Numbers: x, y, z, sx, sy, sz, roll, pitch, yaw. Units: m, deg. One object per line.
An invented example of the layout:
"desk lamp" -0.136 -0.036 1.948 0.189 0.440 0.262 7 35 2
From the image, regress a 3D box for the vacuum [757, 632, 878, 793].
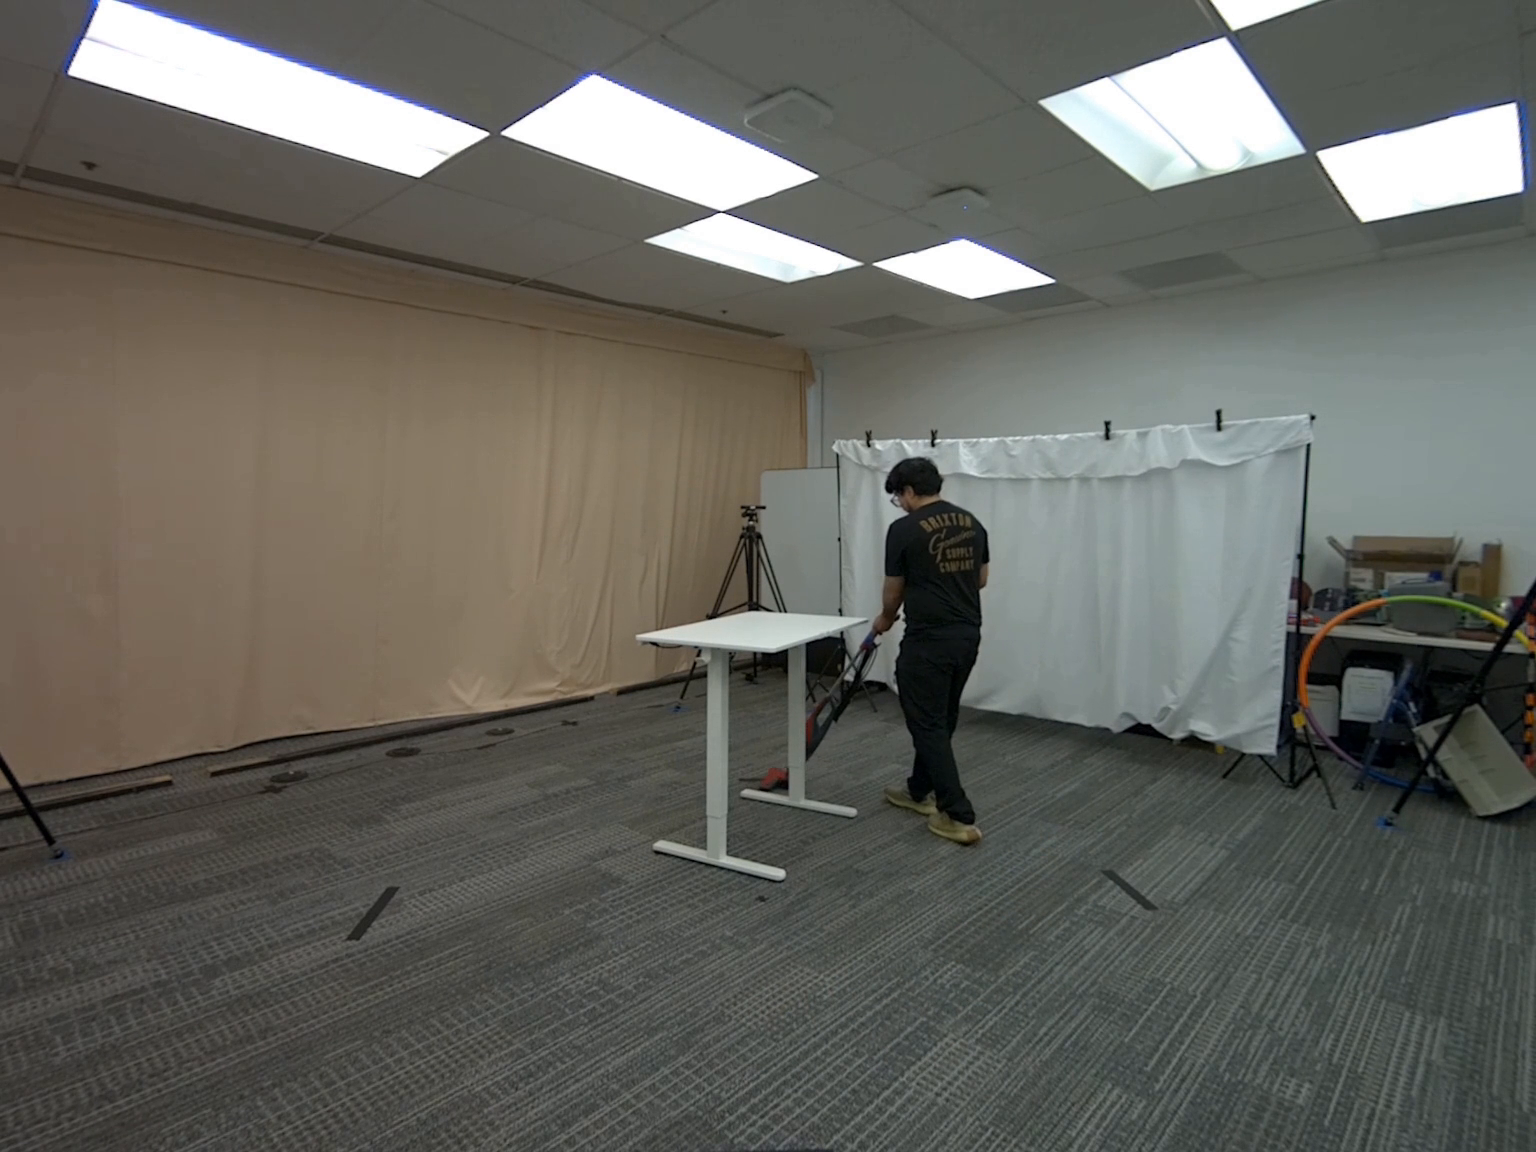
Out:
"vacuum" 0.332 0.607 4.074 0.146 1.050 0.248 38 17 12
